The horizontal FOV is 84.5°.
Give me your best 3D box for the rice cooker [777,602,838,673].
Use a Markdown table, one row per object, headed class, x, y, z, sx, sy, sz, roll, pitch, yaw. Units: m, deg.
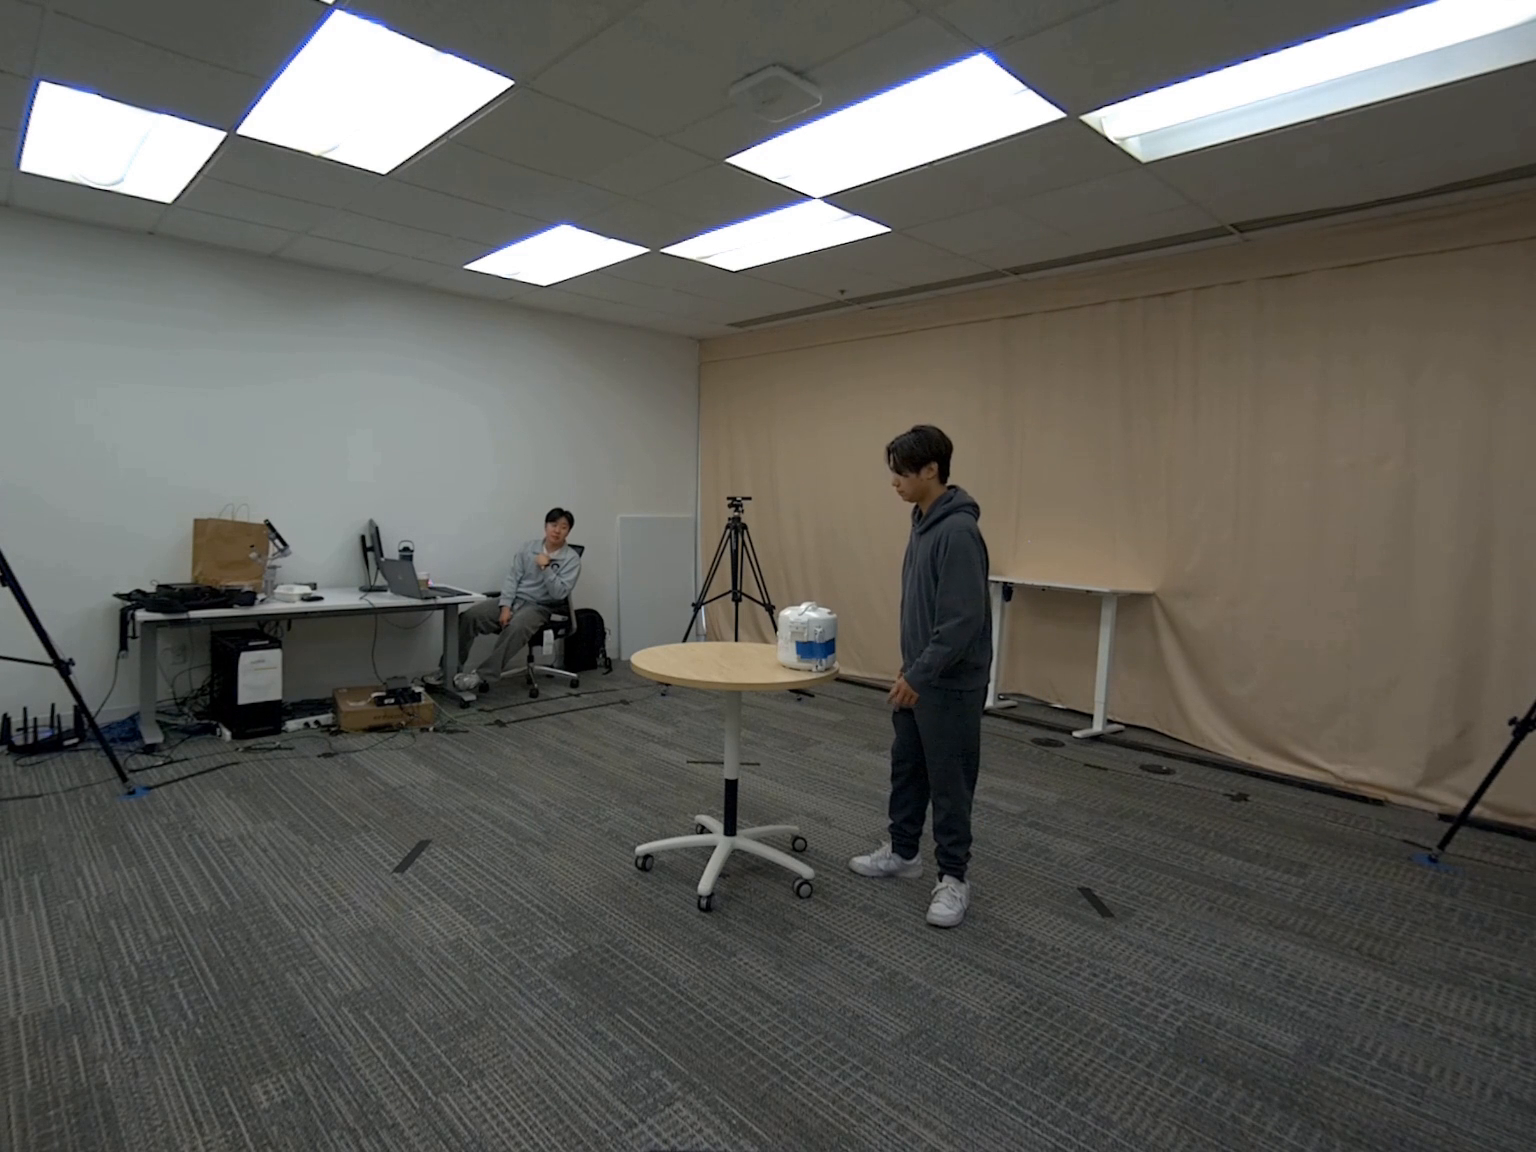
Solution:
| class | x | y | z | sx | sy | sz | roll | pitch | yaw |
| --- | --- | --- | --- | --- | --- | --- | --- | --- | --- |
| rice cooker | 0.138 | 0.208 | 3.016 | 0.221 | 0.232 | 0.217 | 5 | 5 | 23 |
